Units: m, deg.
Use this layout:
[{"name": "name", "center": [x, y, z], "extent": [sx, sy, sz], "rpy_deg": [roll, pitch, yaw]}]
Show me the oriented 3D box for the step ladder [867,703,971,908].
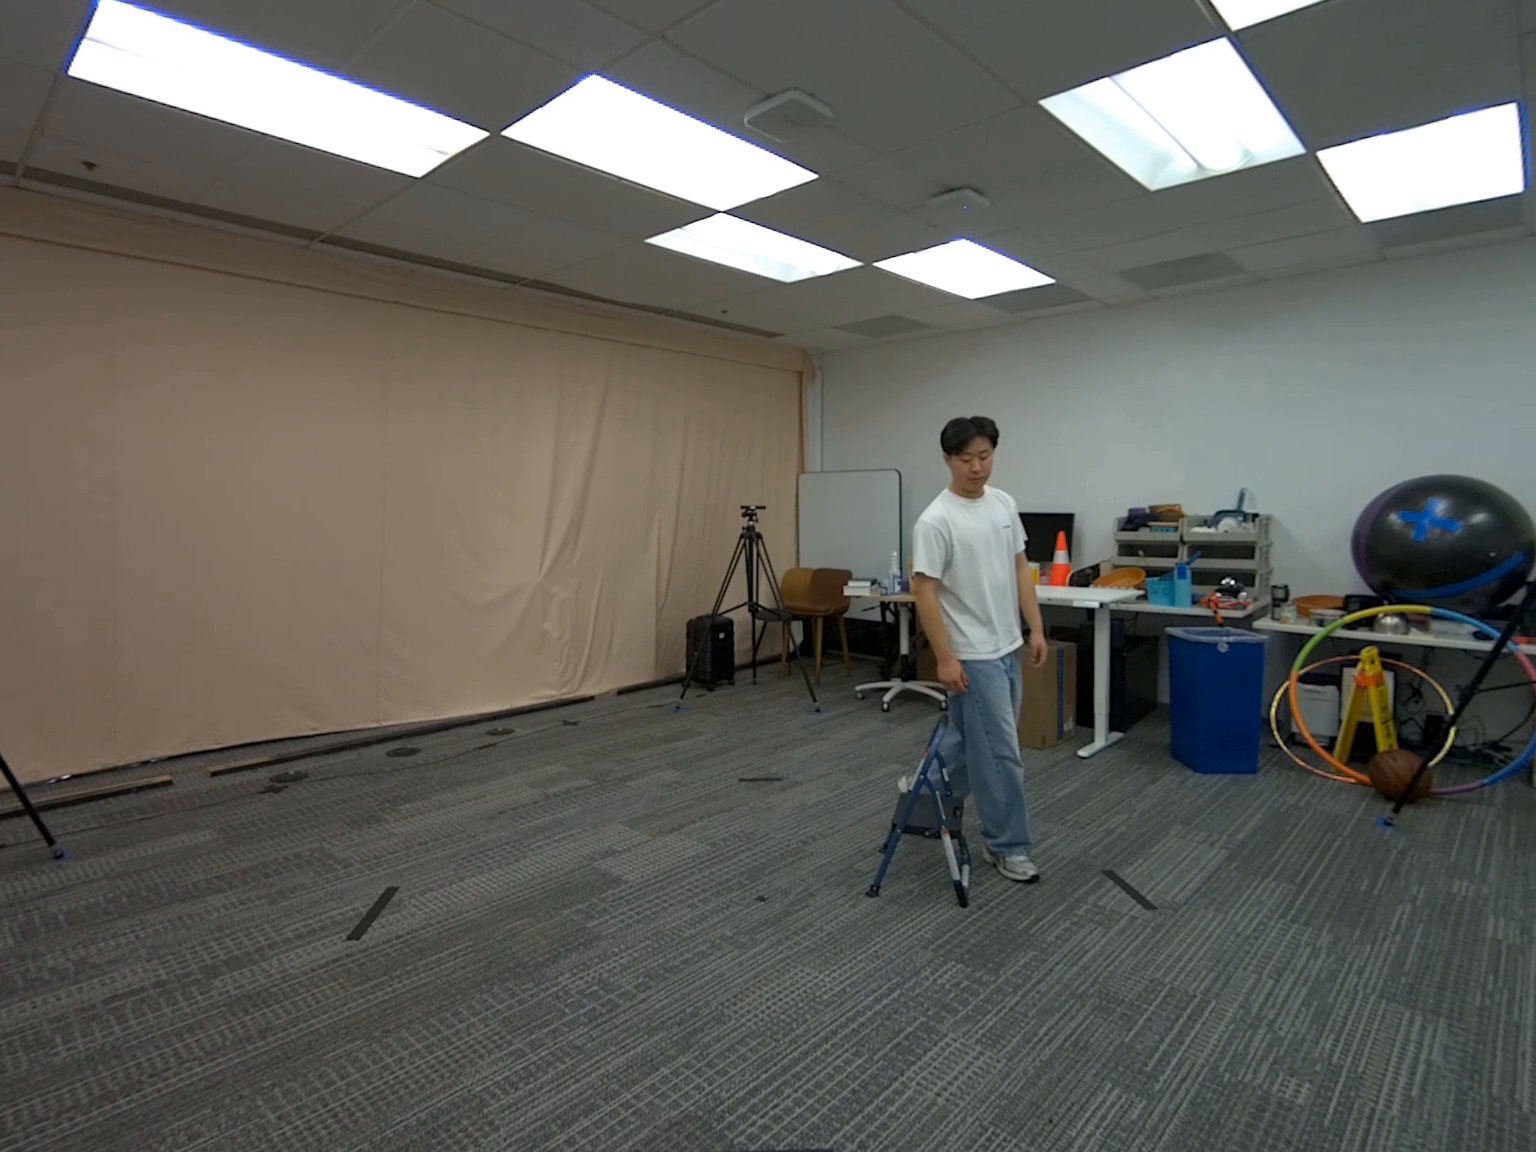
[{"name": "step ladder", "center": [0.575, 0.829, 3.134], "extent": [0.355, 0.605, 0.424], "rpy_deg": [1, 3, 15]}]
